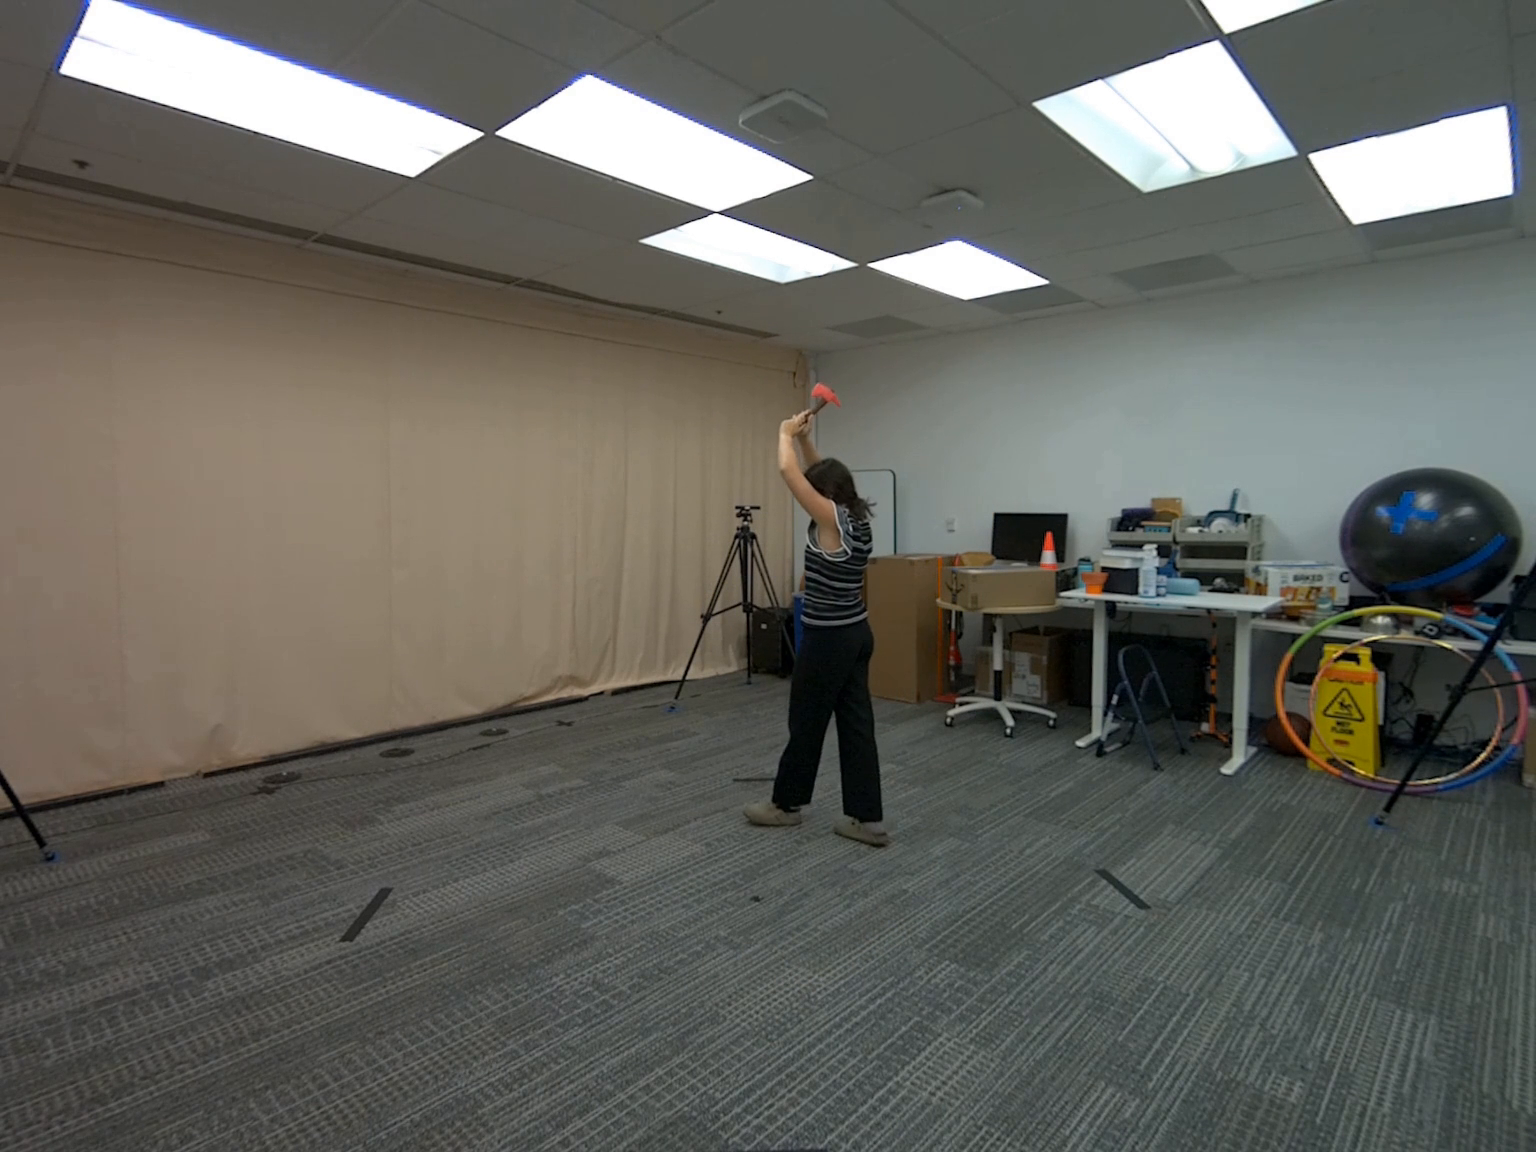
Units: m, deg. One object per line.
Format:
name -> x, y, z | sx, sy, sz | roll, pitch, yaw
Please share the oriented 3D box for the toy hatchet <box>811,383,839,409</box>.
toy hatchet -> 0.164, -0.721, 3.563 | 0.271, 0.130, 0.029 | -25, 3, 5
